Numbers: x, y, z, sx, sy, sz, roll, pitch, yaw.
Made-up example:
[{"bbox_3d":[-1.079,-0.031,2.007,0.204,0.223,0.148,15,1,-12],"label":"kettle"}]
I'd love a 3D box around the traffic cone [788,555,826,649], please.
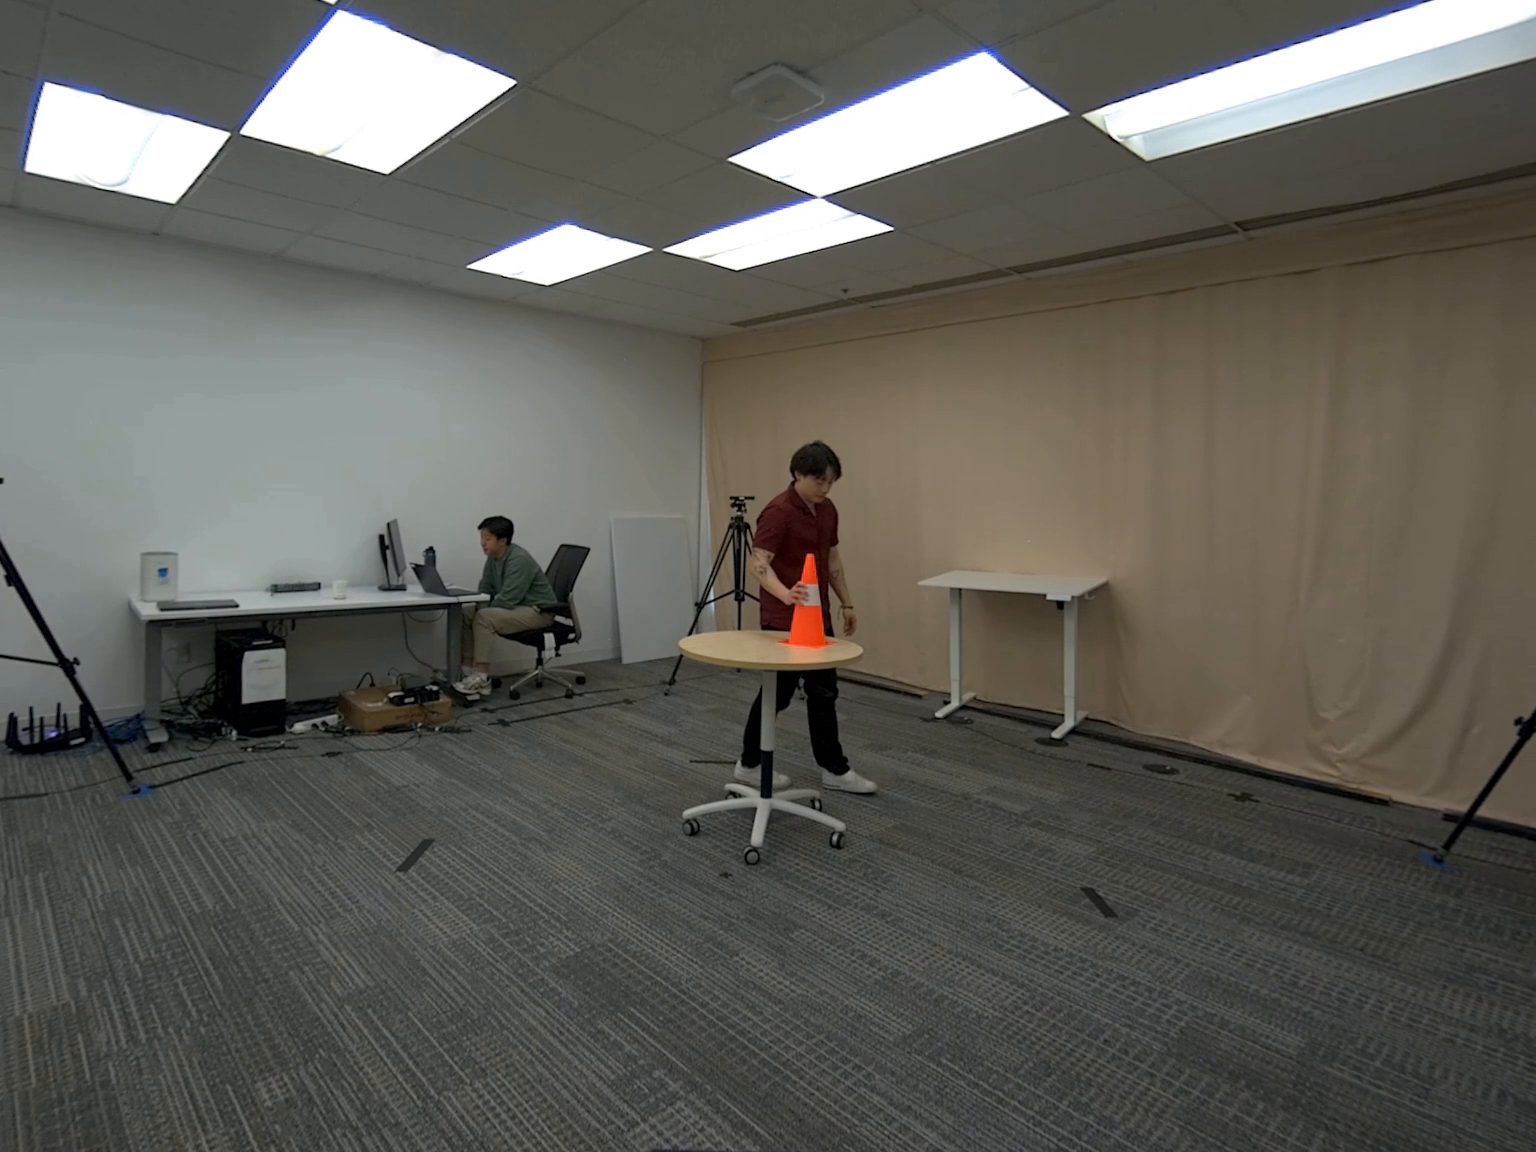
[{"bbox_3d":[0.166,0.099,3.582,0.208,0.382,0.201,5,6,35],"label":"traffic cone"}]
